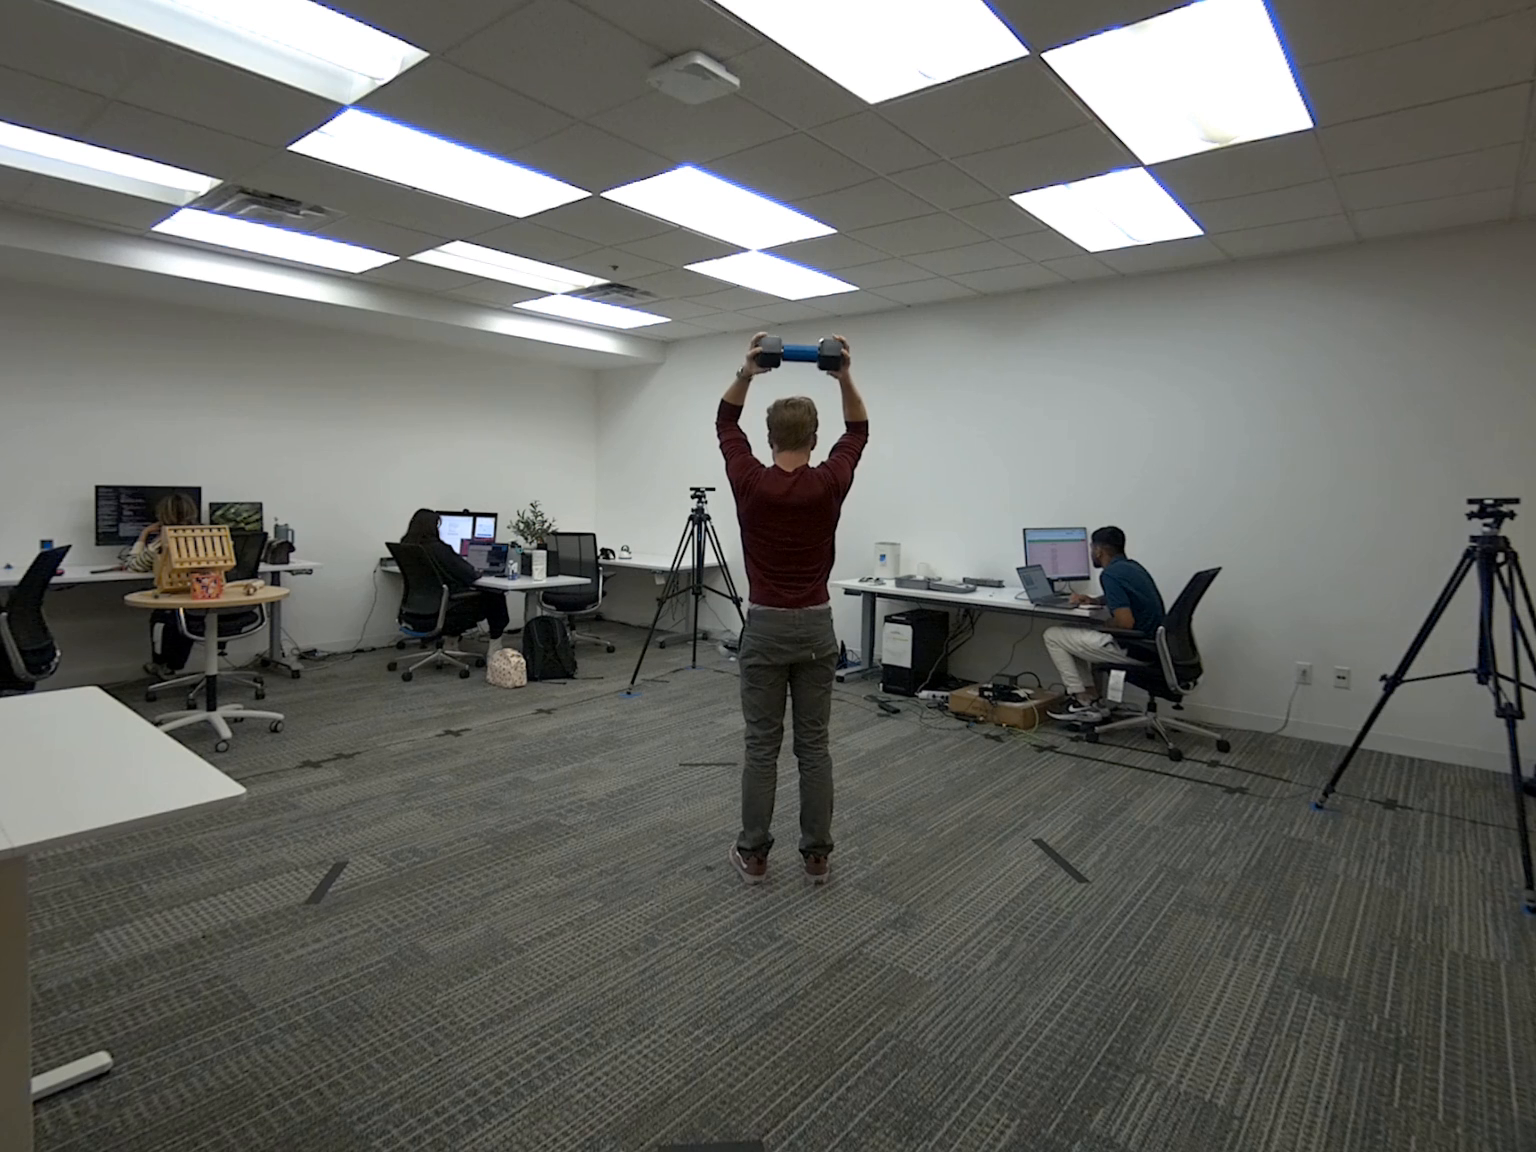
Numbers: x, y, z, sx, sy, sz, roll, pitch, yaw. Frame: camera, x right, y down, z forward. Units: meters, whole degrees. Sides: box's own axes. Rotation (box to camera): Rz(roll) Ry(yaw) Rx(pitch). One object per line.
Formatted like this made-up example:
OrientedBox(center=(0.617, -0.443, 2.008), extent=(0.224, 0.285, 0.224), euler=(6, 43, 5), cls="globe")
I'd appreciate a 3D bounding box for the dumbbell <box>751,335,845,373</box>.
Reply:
OrientedBox(center=(0.114, -0.768, 2.944), extent=(0.294, 0.107, 0.124), euler=(0, 14, 0), cls="dumbbell")
